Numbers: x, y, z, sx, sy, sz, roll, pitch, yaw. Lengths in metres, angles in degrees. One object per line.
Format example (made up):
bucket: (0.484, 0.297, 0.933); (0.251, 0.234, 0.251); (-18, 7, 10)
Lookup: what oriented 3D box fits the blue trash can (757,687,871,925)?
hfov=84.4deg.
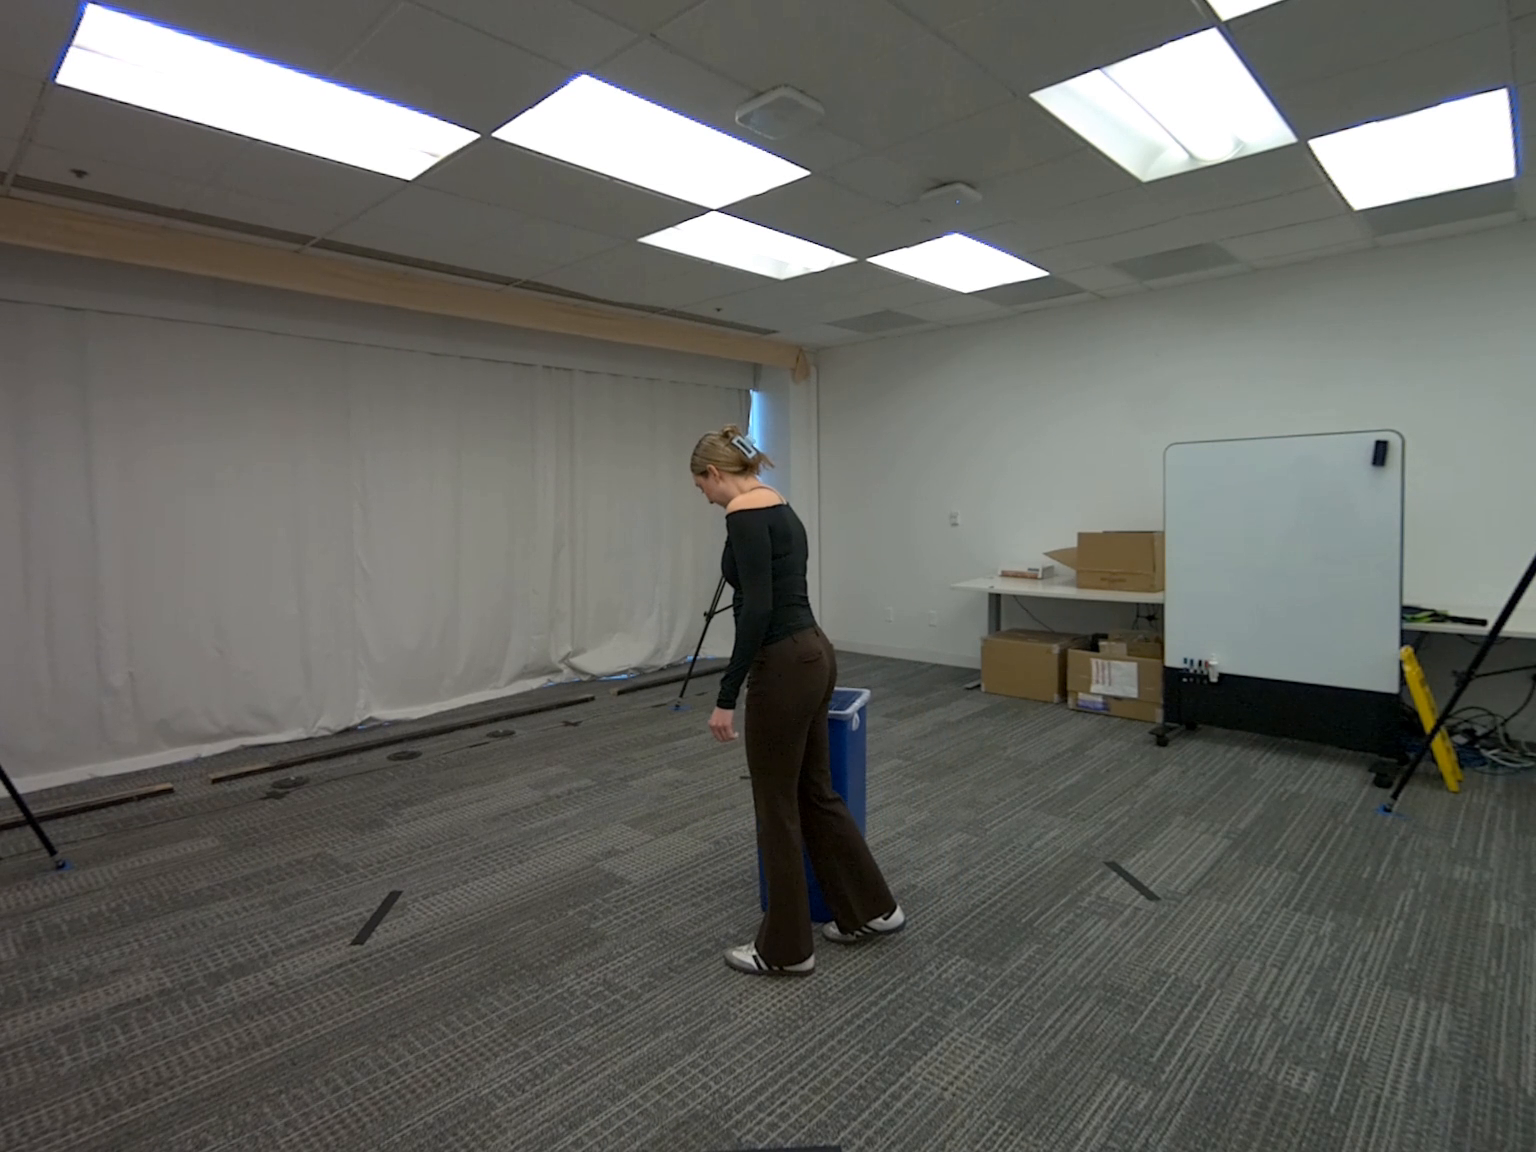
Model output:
blue trash can: (0.146, 0.774, 2.935); (0.382, 0.712, 0.371); (0, 3, 20)
